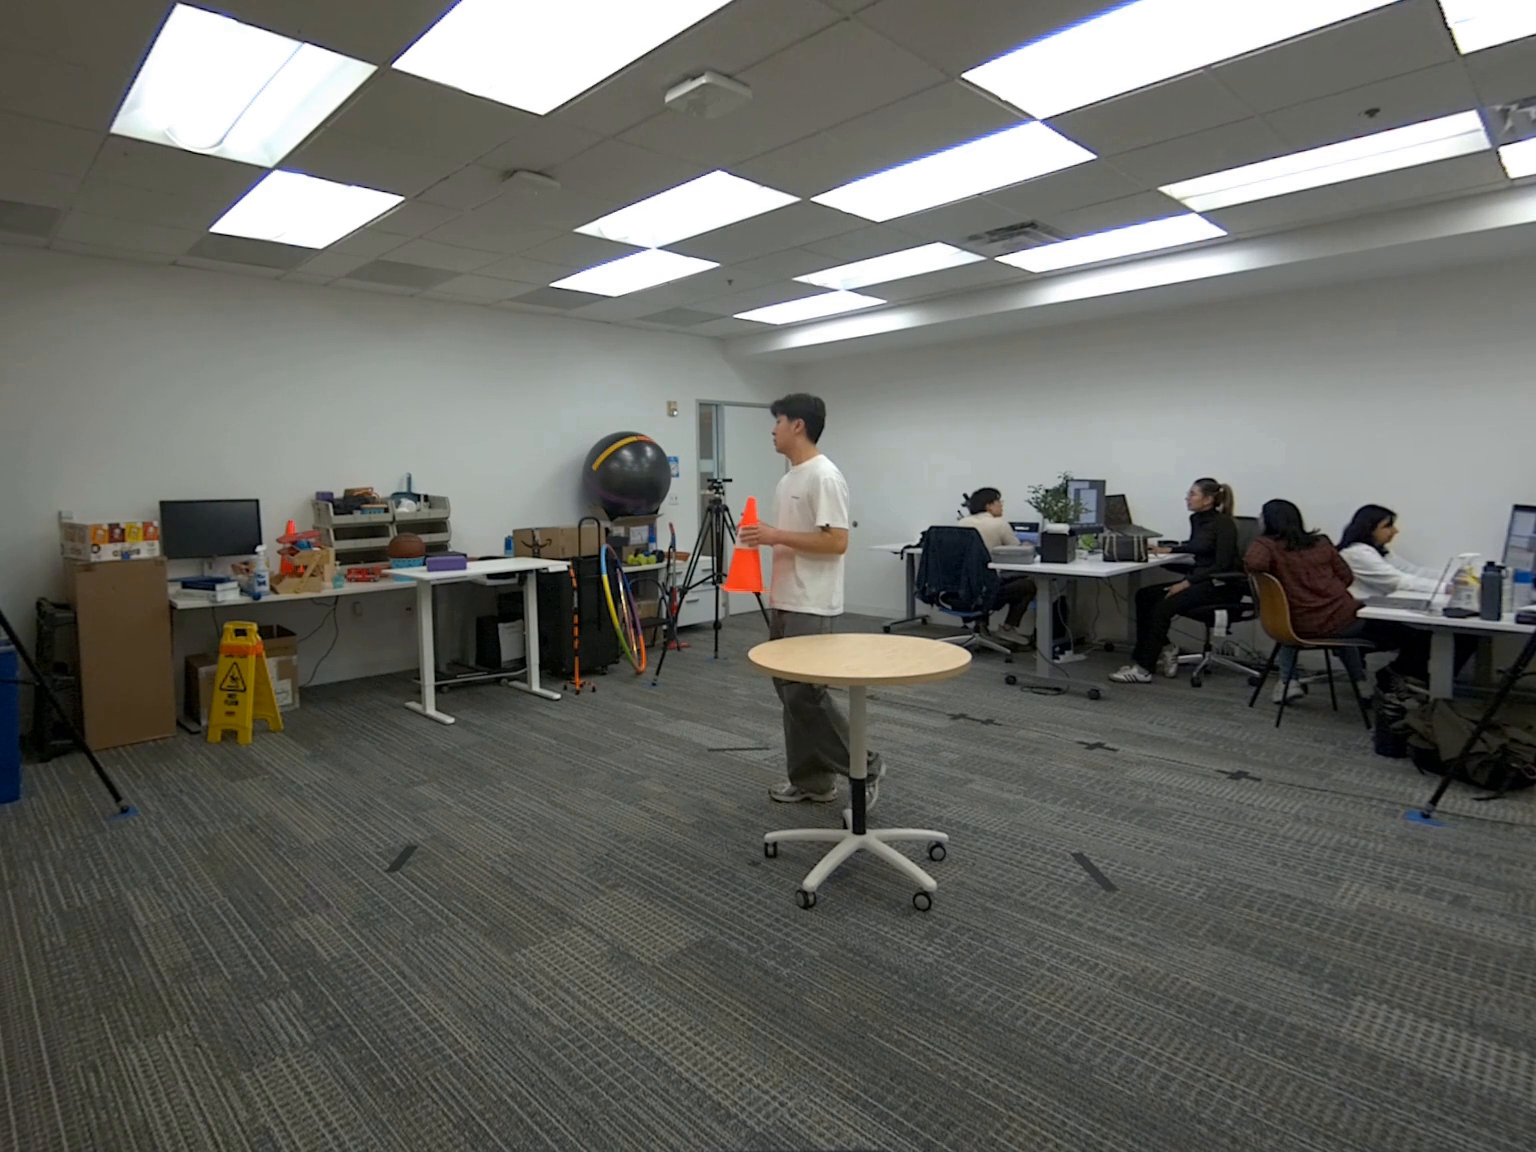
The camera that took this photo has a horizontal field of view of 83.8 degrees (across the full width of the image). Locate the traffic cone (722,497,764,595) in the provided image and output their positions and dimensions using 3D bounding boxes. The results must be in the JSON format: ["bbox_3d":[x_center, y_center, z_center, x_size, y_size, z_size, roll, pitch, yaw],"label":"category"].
[{"bbox_3d":[-0.076,-0.134,3.551,0.209,0.382,0.200,4,4,29],"label":"traffic cone"}]
